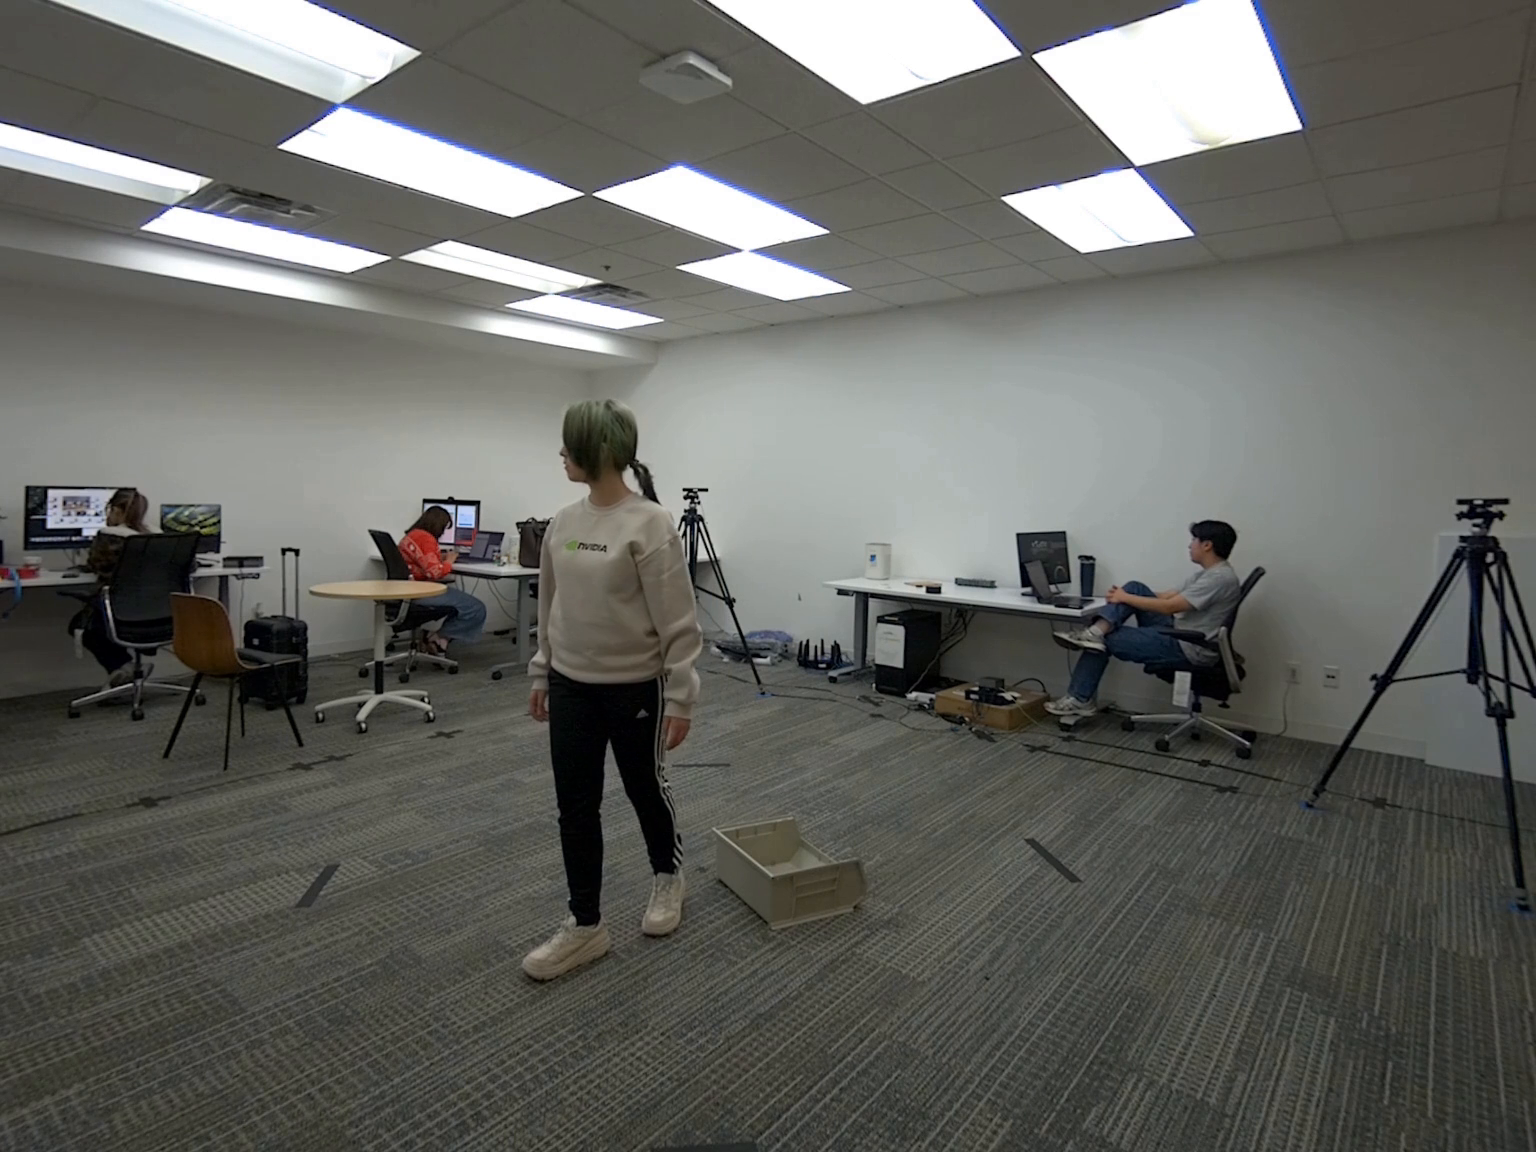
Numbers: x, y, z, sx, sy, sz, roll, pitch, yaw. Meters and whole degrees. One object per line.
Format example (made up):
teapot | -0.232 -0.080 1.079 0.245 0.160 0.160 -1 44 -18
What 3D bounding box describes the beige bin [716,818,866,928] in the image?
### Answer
beige bin | 0.061 1.003 2.938 0.368 0.188 0.435 -2 7 -29
